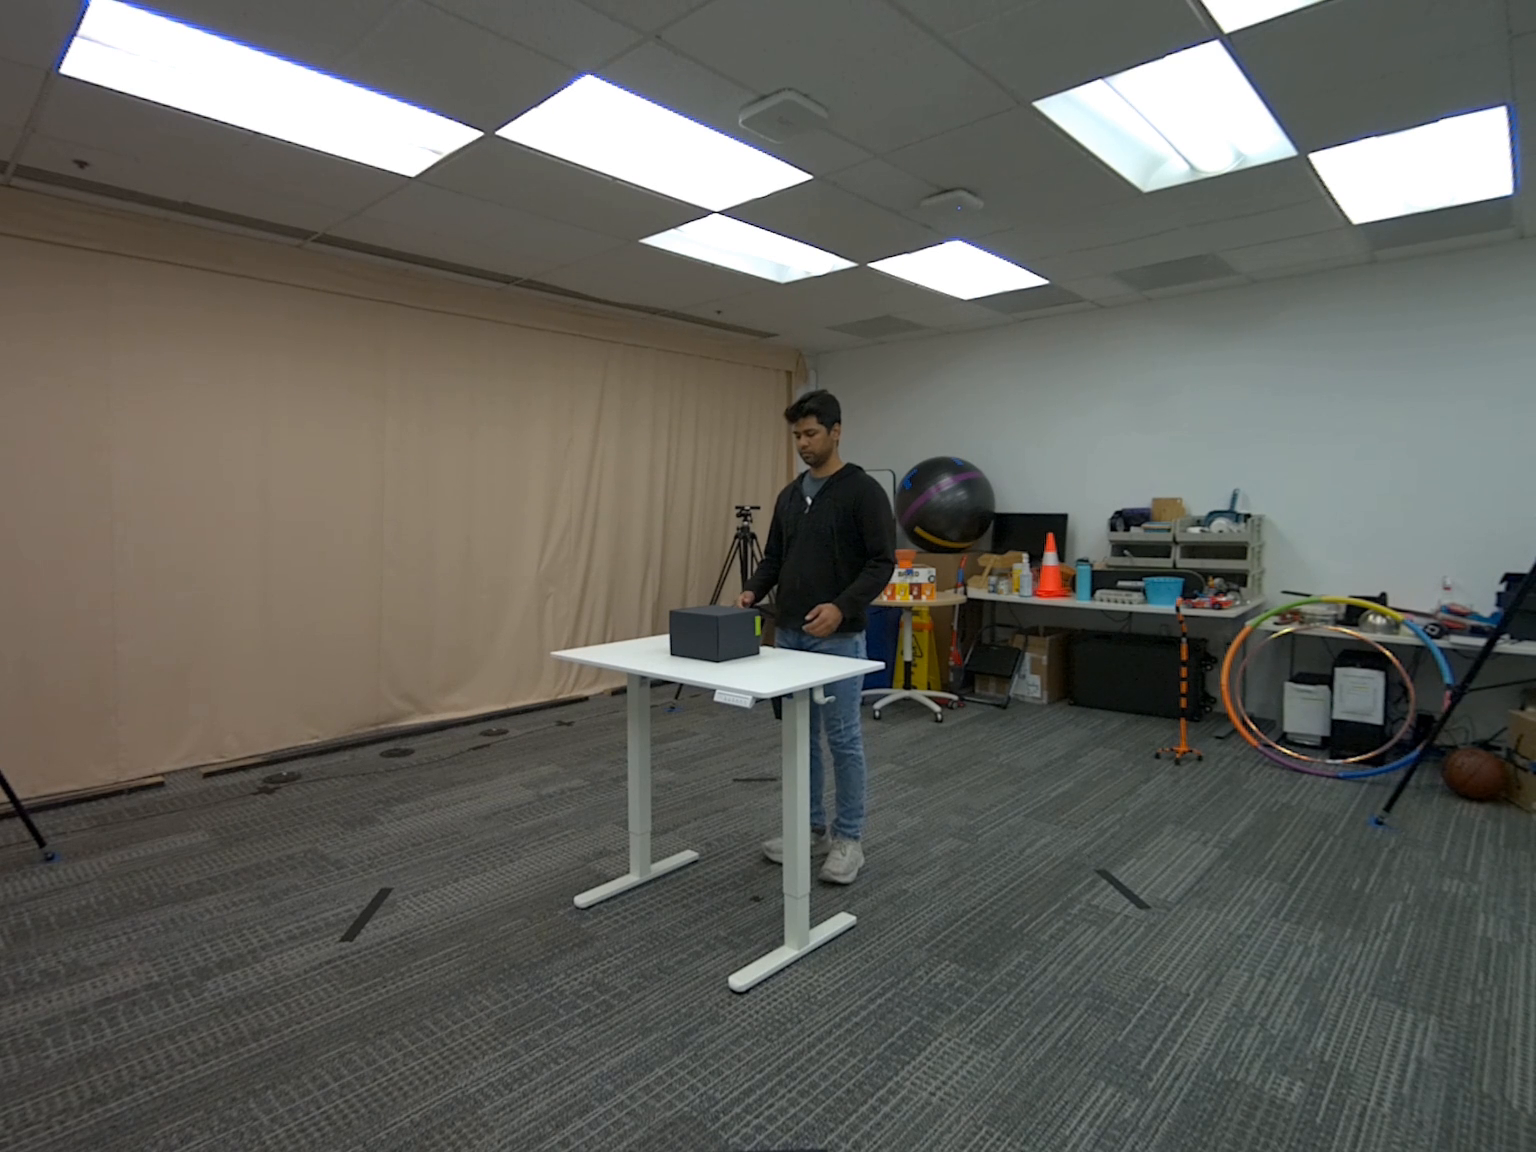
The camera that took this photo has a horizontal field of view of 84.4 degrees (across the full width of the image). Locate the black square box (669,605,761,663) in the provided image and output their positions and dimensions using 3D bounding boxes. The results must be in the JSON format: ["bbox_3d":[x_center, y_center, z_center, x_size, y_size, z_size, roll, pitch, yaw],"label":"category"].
[{"bbox_3d":[-0.180,0.192,2.880,0.235,0.155,0.210,3,5,41],"label":"black square box"}]
